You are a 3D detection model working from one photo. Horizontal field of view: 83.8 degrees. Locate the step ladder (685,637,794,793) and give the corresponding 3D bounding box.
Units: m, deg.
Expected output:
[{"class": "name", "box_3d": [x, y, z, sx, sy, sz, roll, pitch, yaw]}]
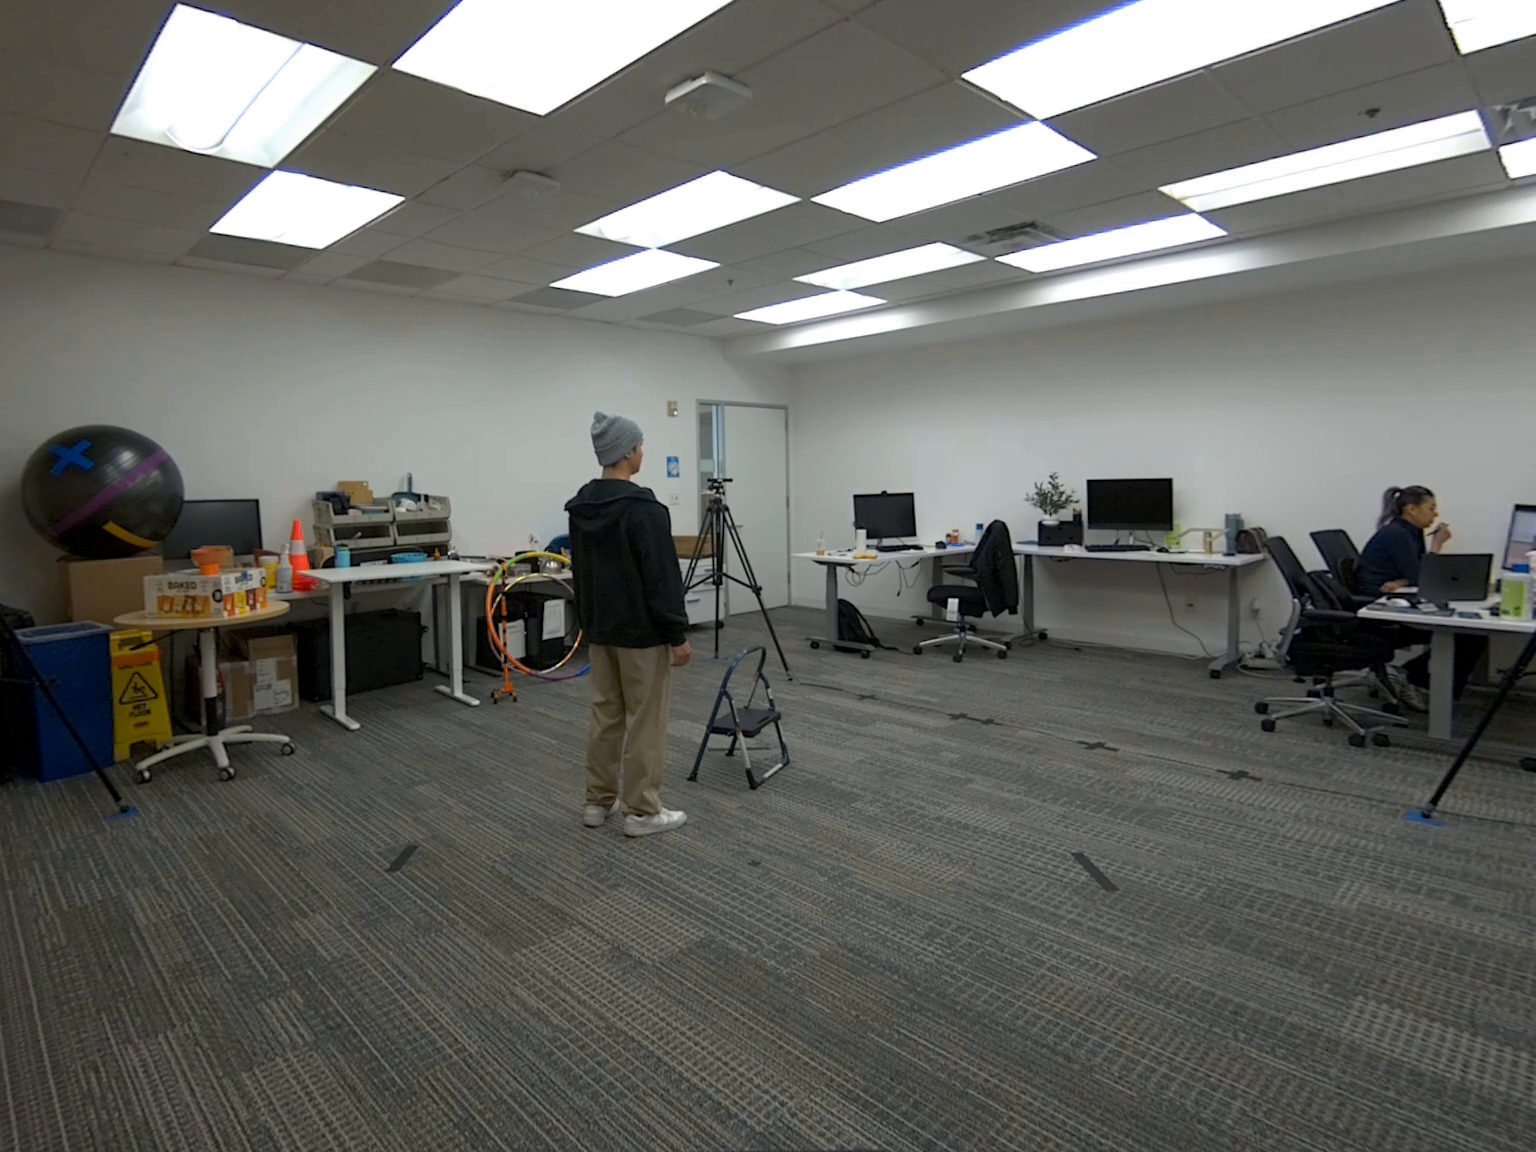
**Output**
[{"class": "step ladder", "box_3d": [-0.129, 0.637, 4.084, 0.357, 0.604, 0.422, 0, 4, 24]}]
